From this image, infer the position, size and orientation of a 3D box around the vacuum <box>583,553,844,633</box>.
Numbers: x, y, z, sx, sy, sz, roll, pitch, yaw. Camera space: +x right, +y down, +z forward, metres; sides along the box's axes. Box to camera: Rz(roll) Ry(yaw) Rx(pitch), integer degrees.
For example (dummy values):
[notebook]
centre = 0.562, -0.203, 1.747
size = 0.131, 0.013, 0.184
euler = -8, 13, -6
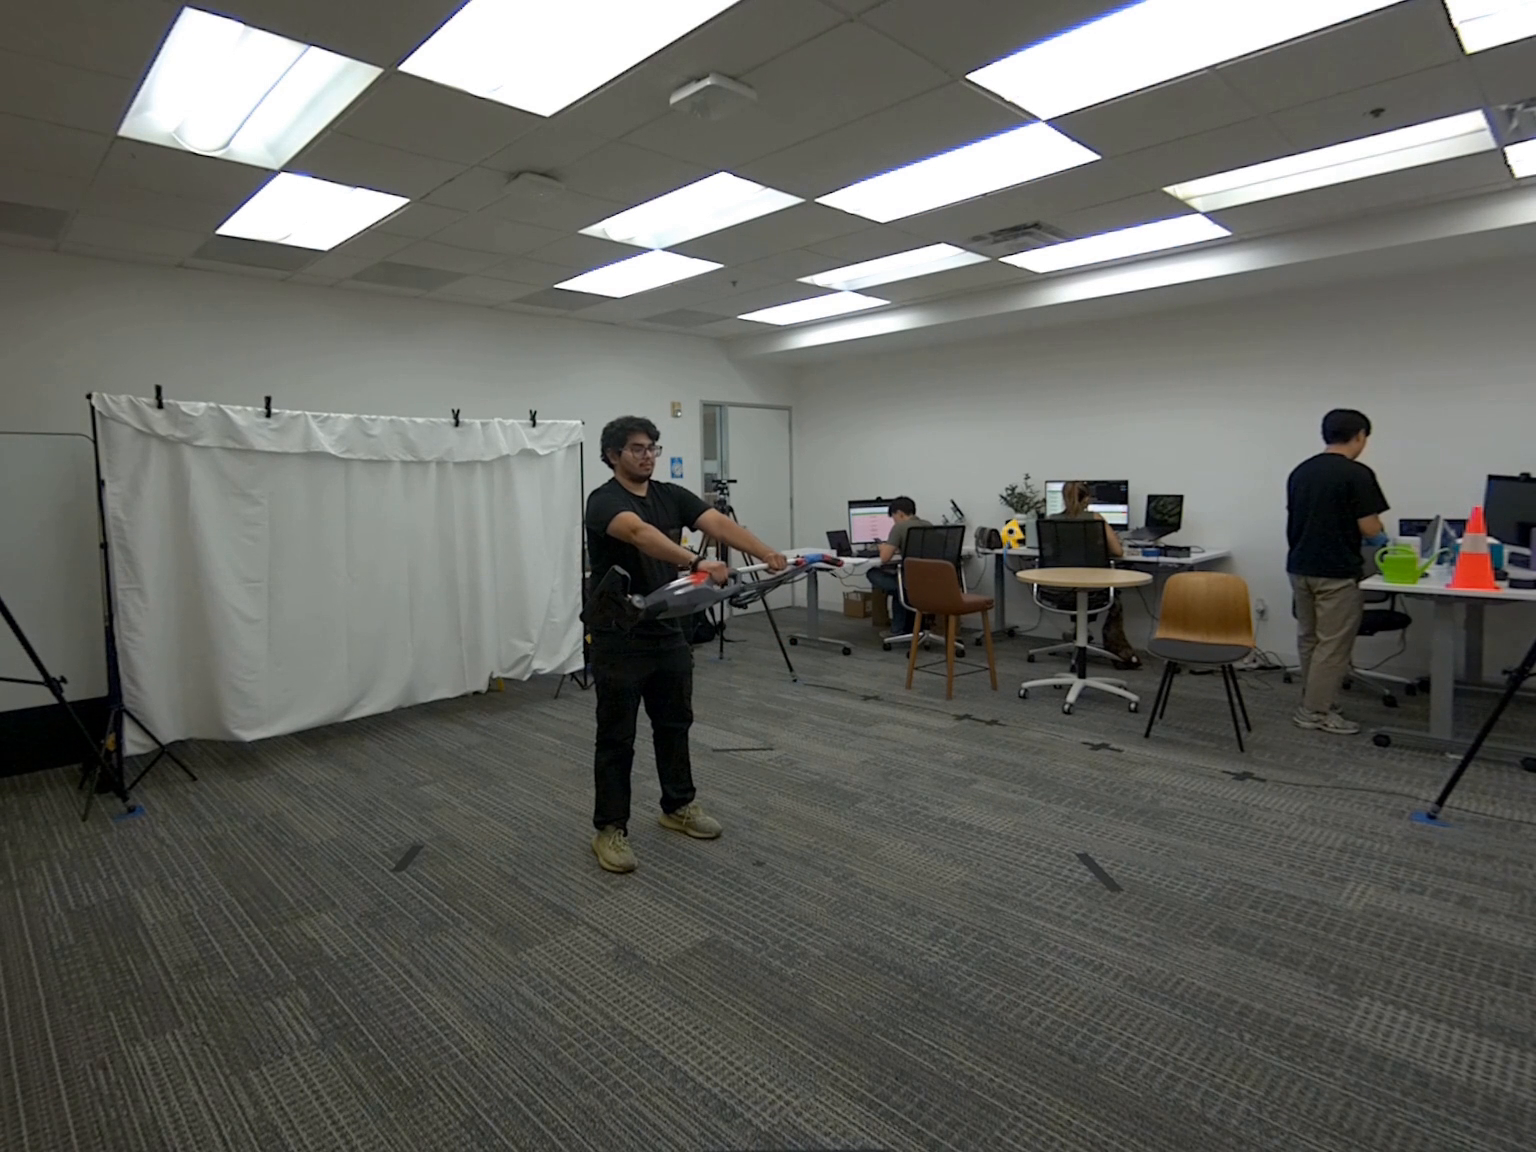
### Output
[vacuum]
centre = -0.086, 0.023, 2.818
size = 1.023, 0.148, 0.252
euler = -9, -28, -45
